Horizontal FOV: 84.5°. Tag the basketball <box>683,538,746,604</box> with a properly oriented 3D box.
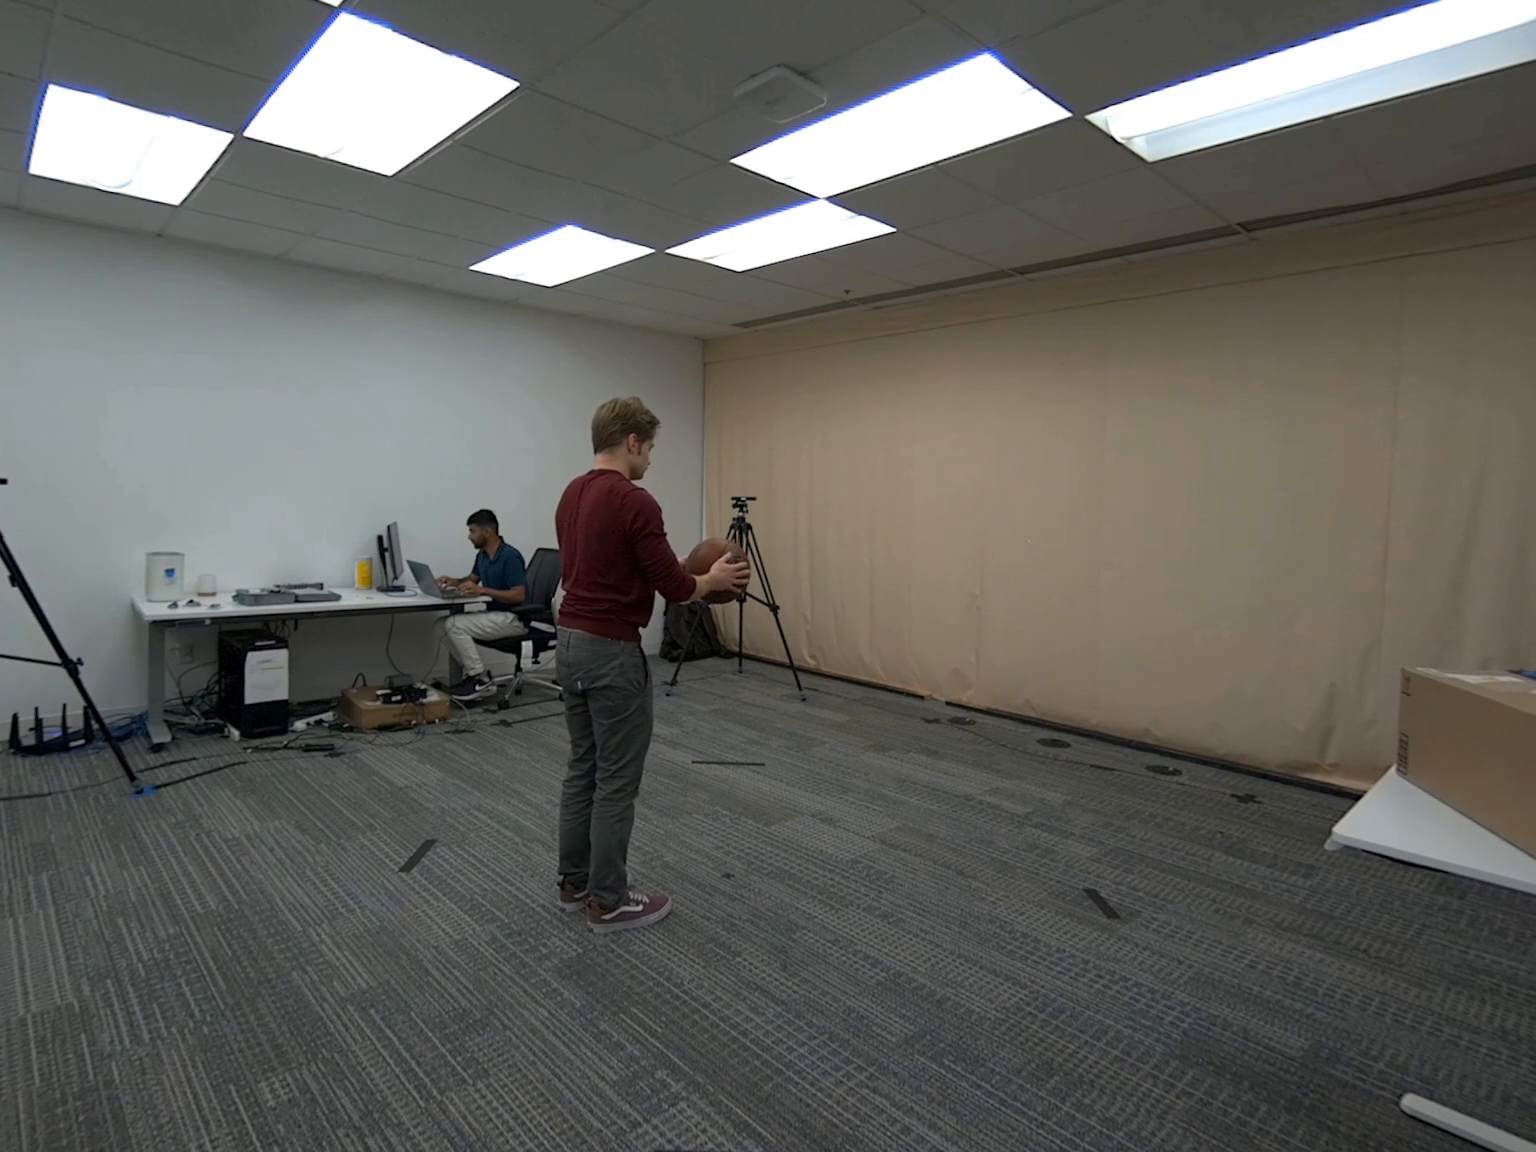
[{"bbox_3d":[-0.188,-0.017,3.040,0.236,0.235,0.237,1,4,-1],"label":"basketball"}]
